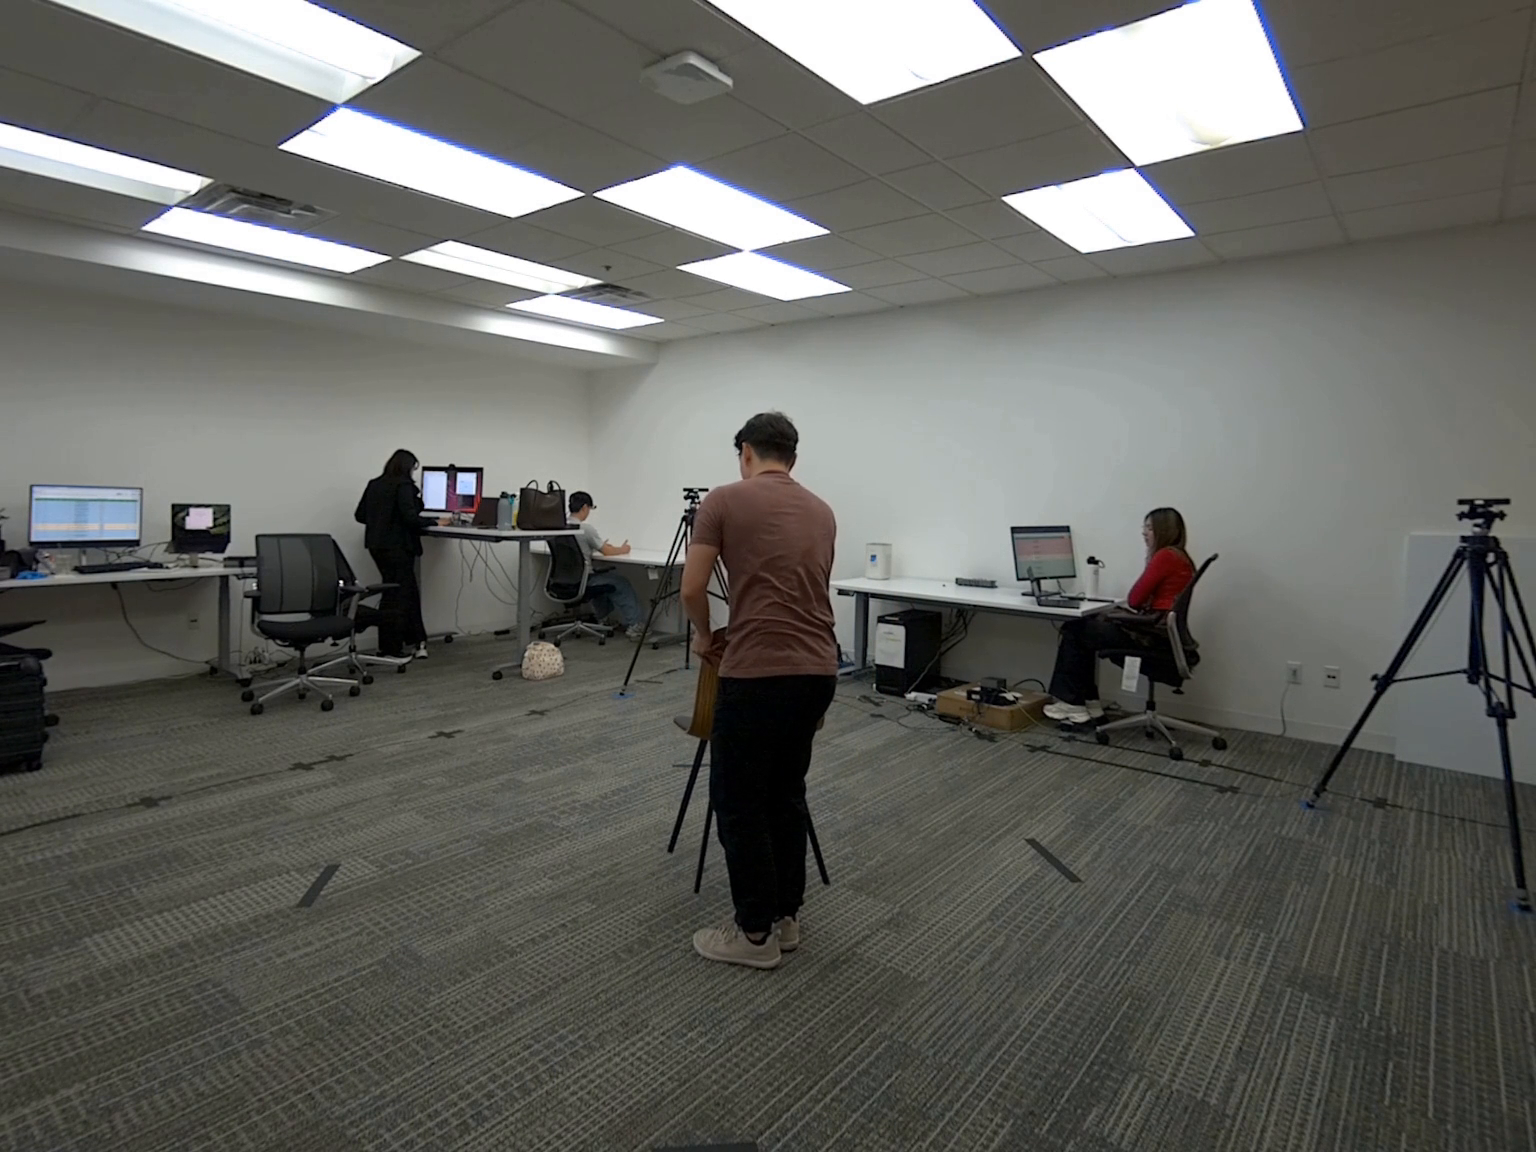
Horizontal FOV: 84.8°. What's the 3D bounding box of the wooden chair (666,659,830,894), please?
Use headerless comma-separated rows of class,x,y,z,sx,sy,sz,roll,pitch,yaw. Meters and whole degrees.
wooden chair,-0.093,0.574,2.965,0.471,0.877,0.532,0,1,-16
